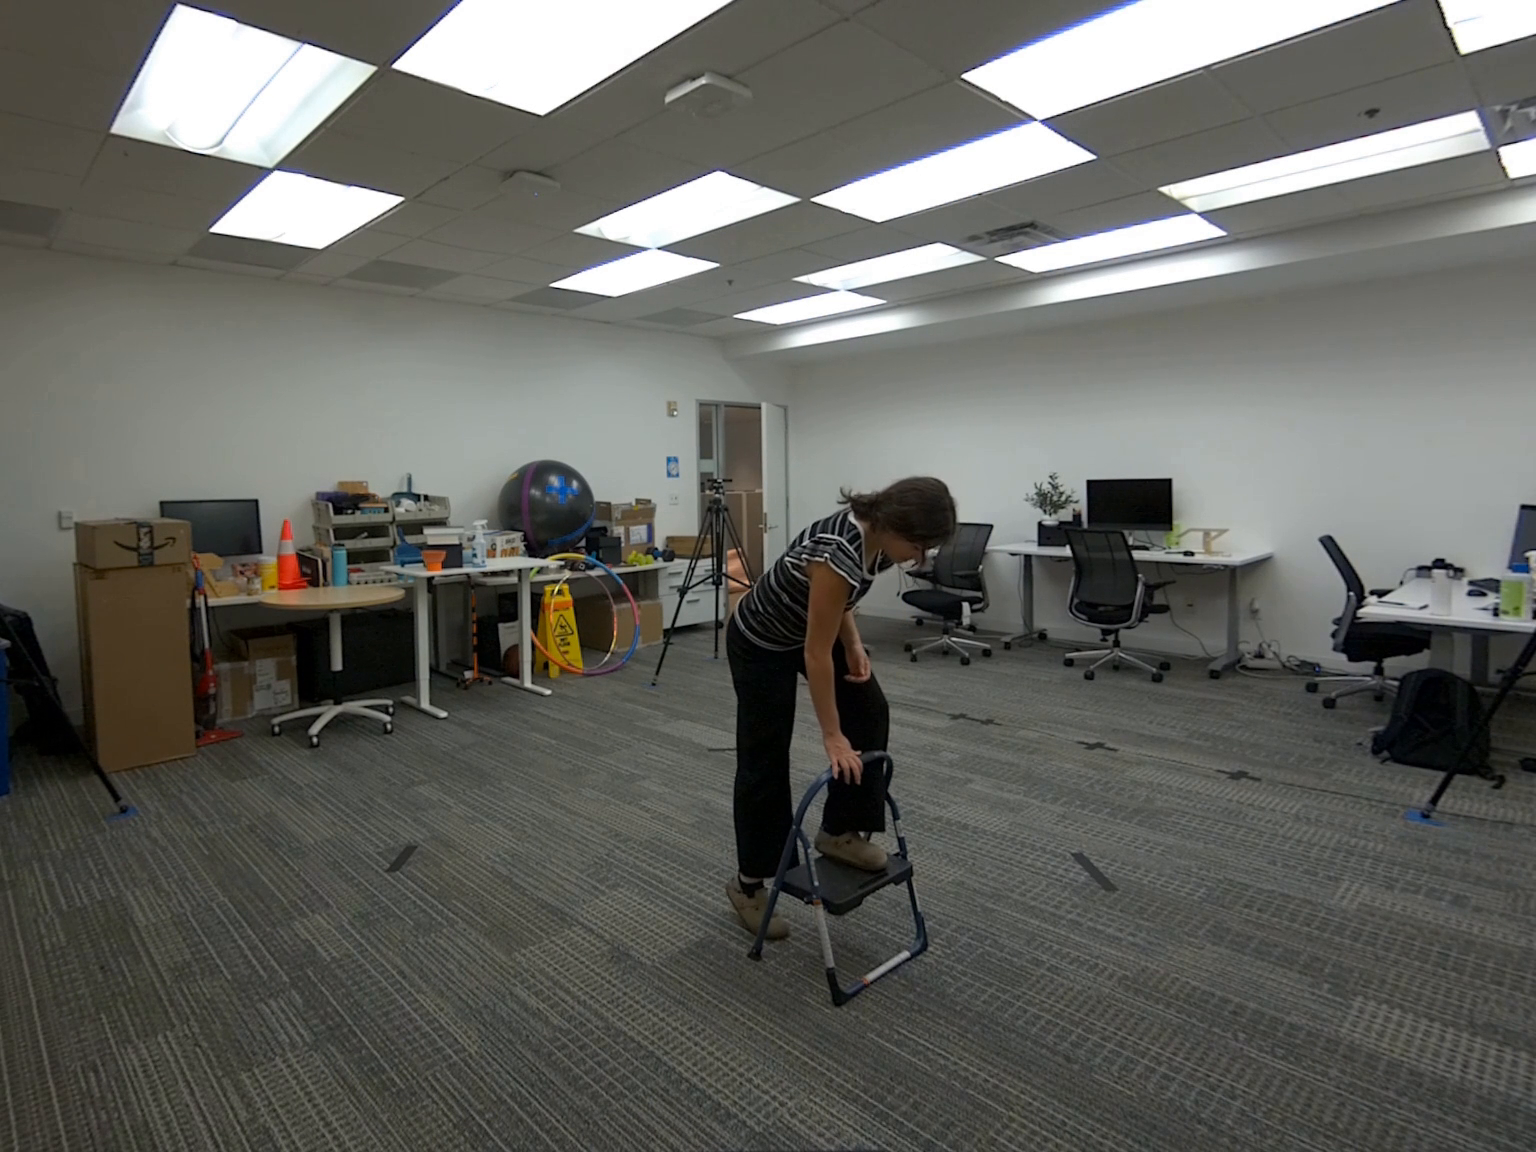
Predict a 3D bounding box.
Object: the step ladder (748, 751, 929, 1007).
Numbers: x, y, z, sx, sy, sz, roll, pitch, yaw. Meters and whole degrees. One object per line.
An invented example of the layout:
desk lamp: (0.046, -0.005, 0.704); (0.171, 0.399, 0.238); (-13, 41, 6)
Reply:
step ladder: (0.207, 0.811, 2.494); (0.419, 0.604, 0.360); (-6, 6, -44)
